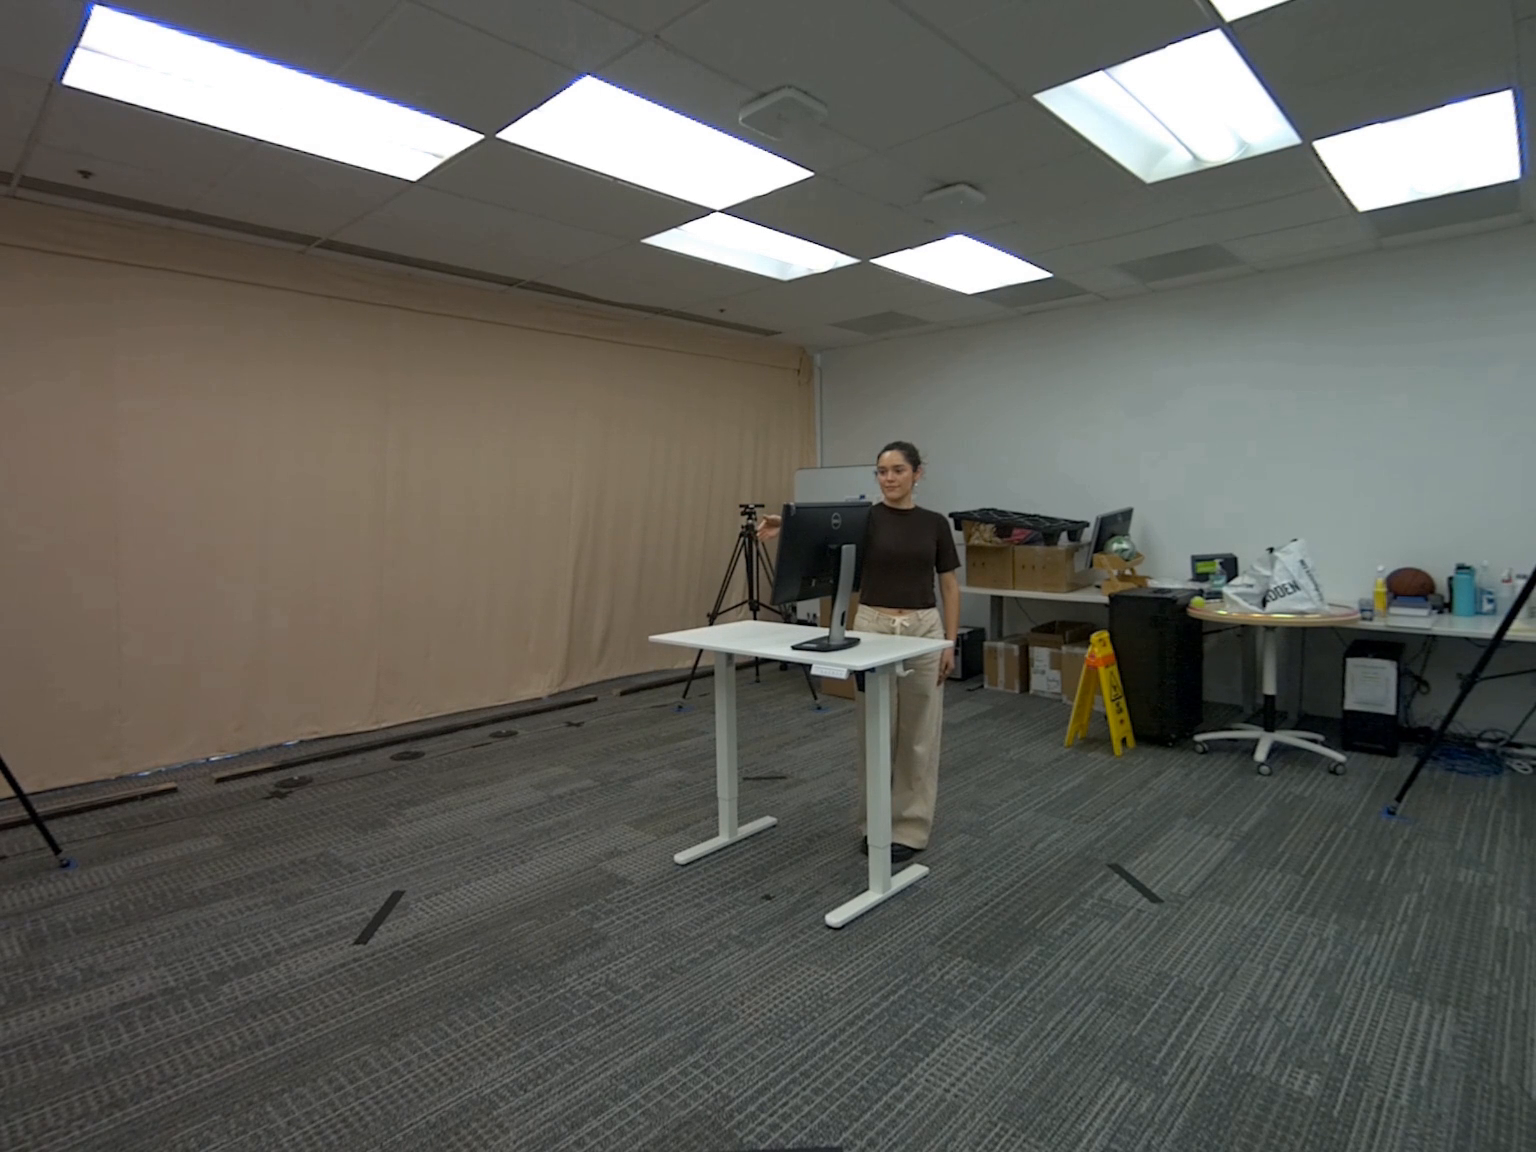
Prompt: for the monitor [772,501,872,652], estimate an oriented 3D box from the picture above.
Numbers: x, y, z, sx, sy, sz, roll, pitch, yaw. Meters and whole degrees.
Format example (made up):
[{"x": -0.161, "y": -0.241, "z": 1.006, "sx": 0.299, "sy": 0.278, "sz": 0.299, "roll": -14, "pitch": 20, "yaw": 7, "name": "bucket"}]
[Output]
[{"x": 0.221, "y": -0.001, "z": 2.997, "sx": 0.193, "sy": 0.522, "sz": 0.523, "roll": 0, "pitch": 4, "yaw": 41, "name": "monitor"}]
